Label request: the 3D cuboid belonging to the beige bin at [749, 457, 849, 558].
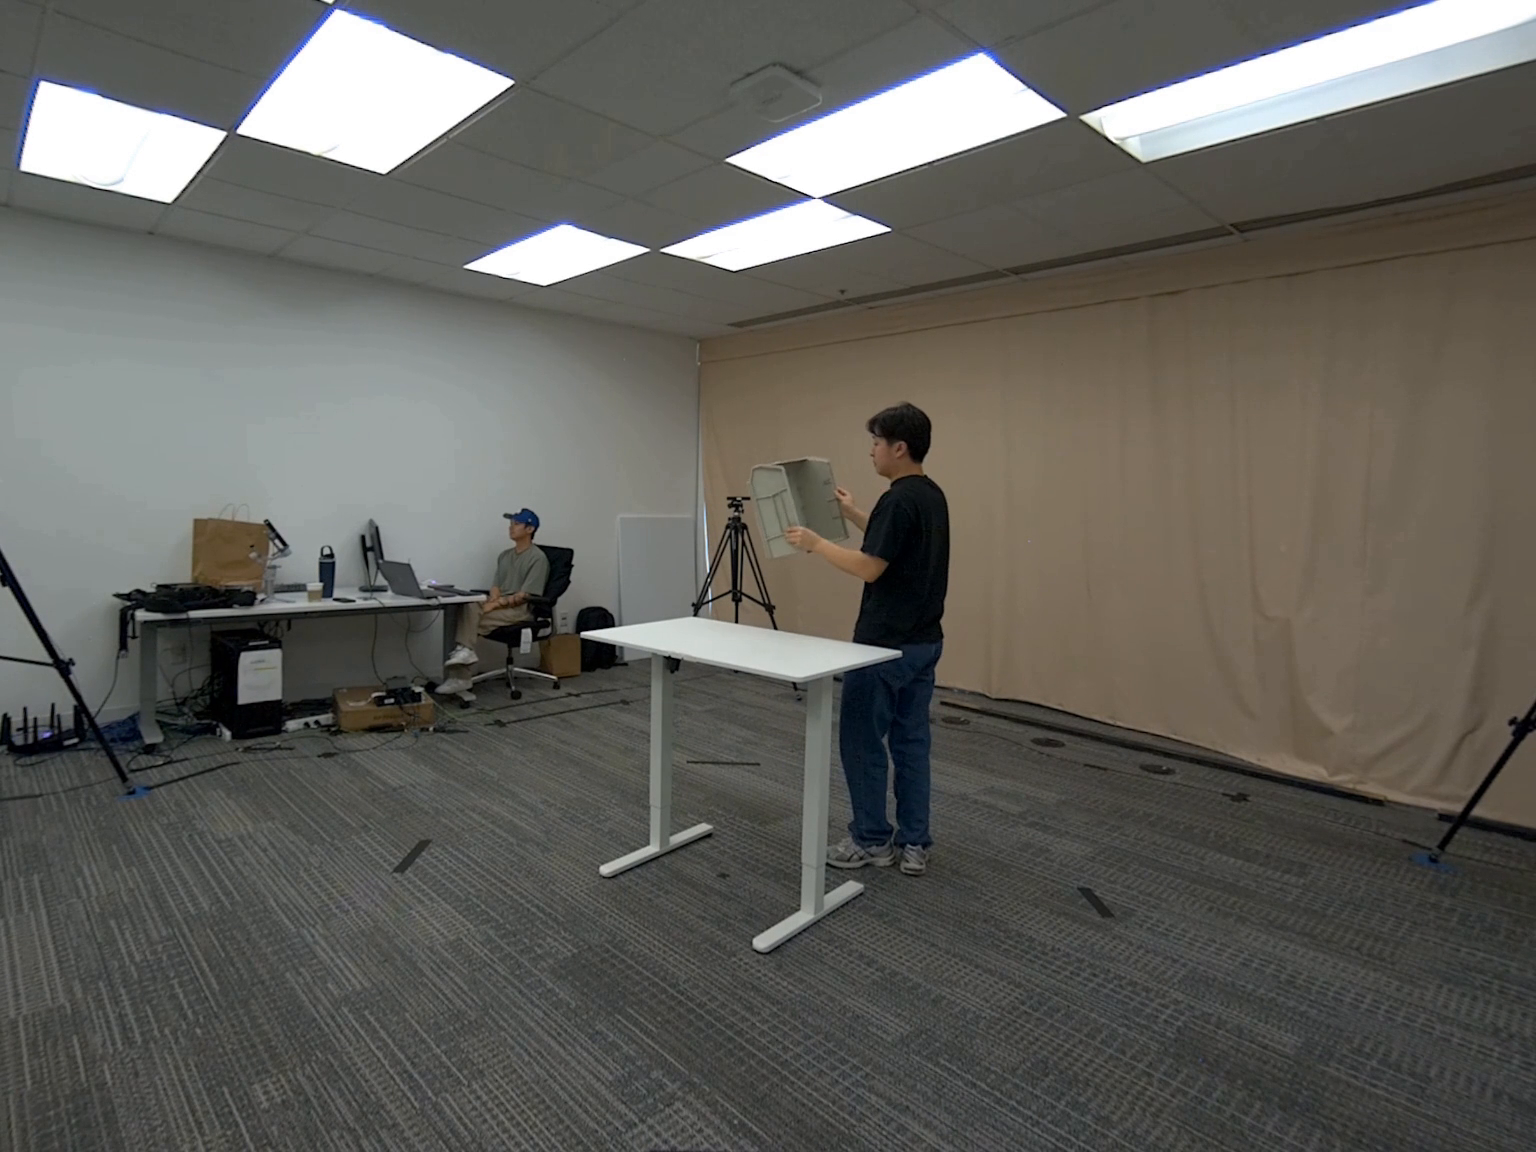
[{"bbox_3d":[0.124,-0.281,3.415,0.192,0.376,0.417,-13,4,30],"label":"beige bin"}]
